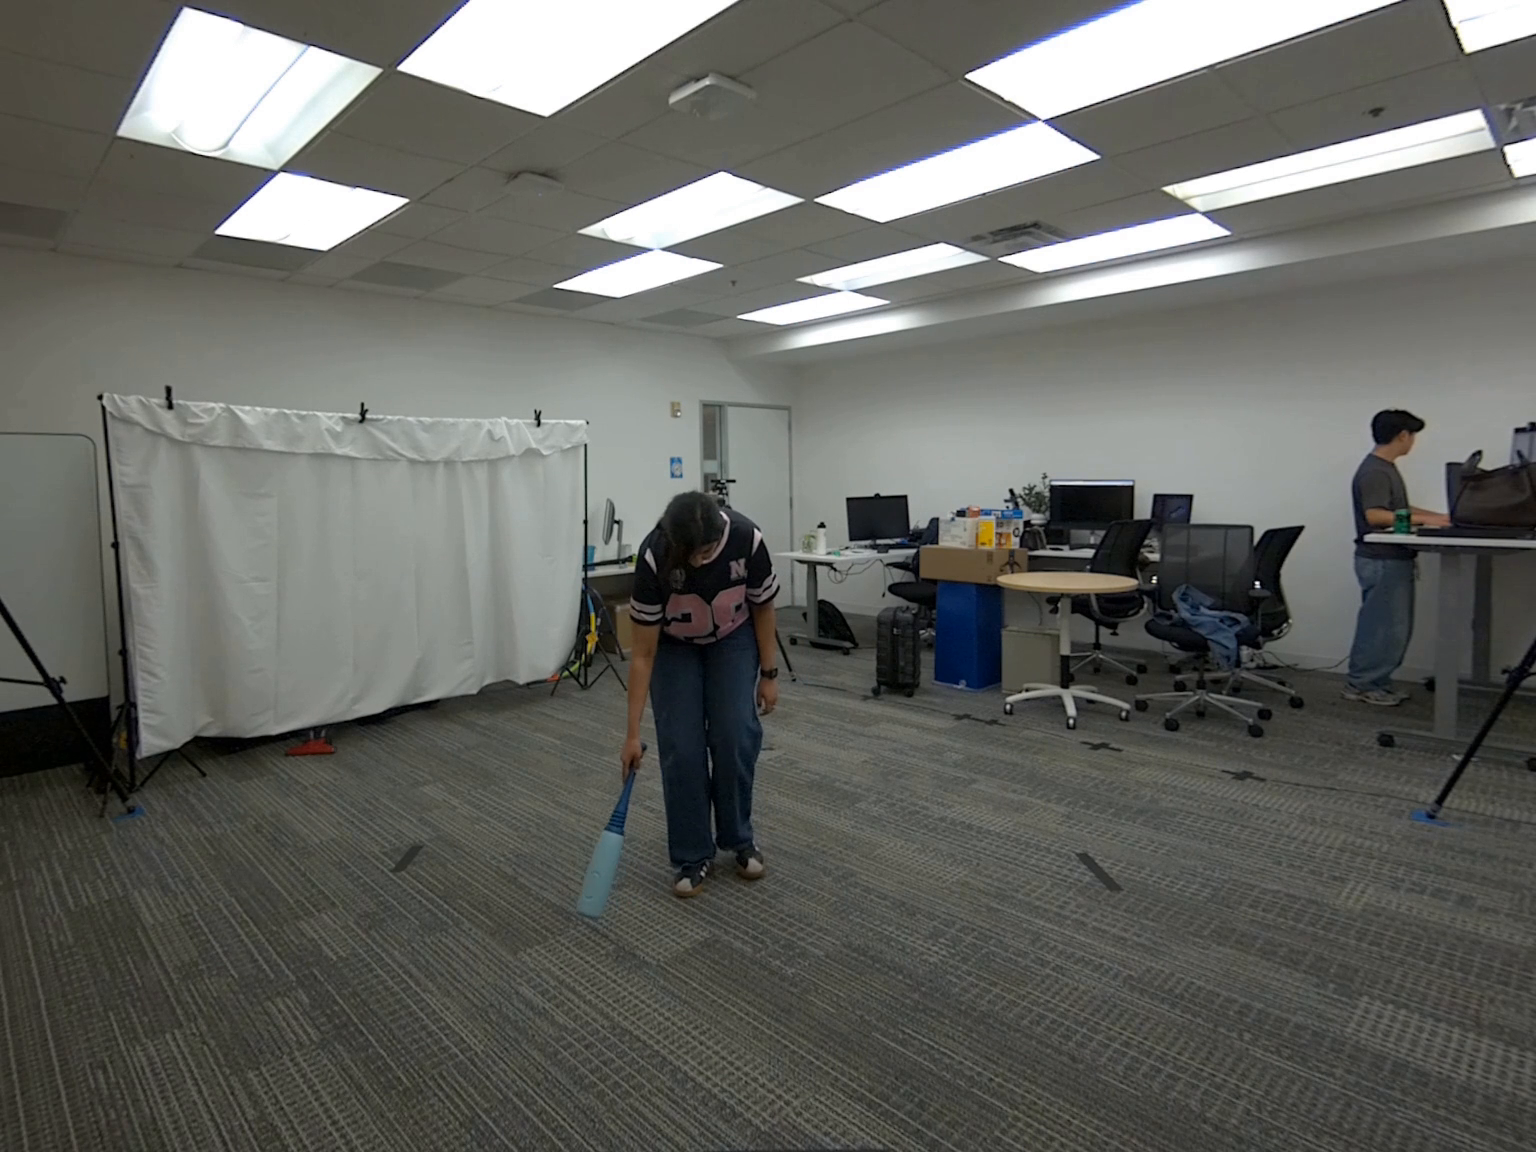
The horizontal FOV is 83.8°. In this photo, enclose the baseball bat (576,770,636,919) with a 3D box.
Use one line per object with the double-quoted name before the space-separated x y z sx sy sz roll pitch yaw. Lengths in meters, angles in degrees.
"baseball bat" -0.477 0.802 2.694 0.089 0.551 0.087 13 -25 4
